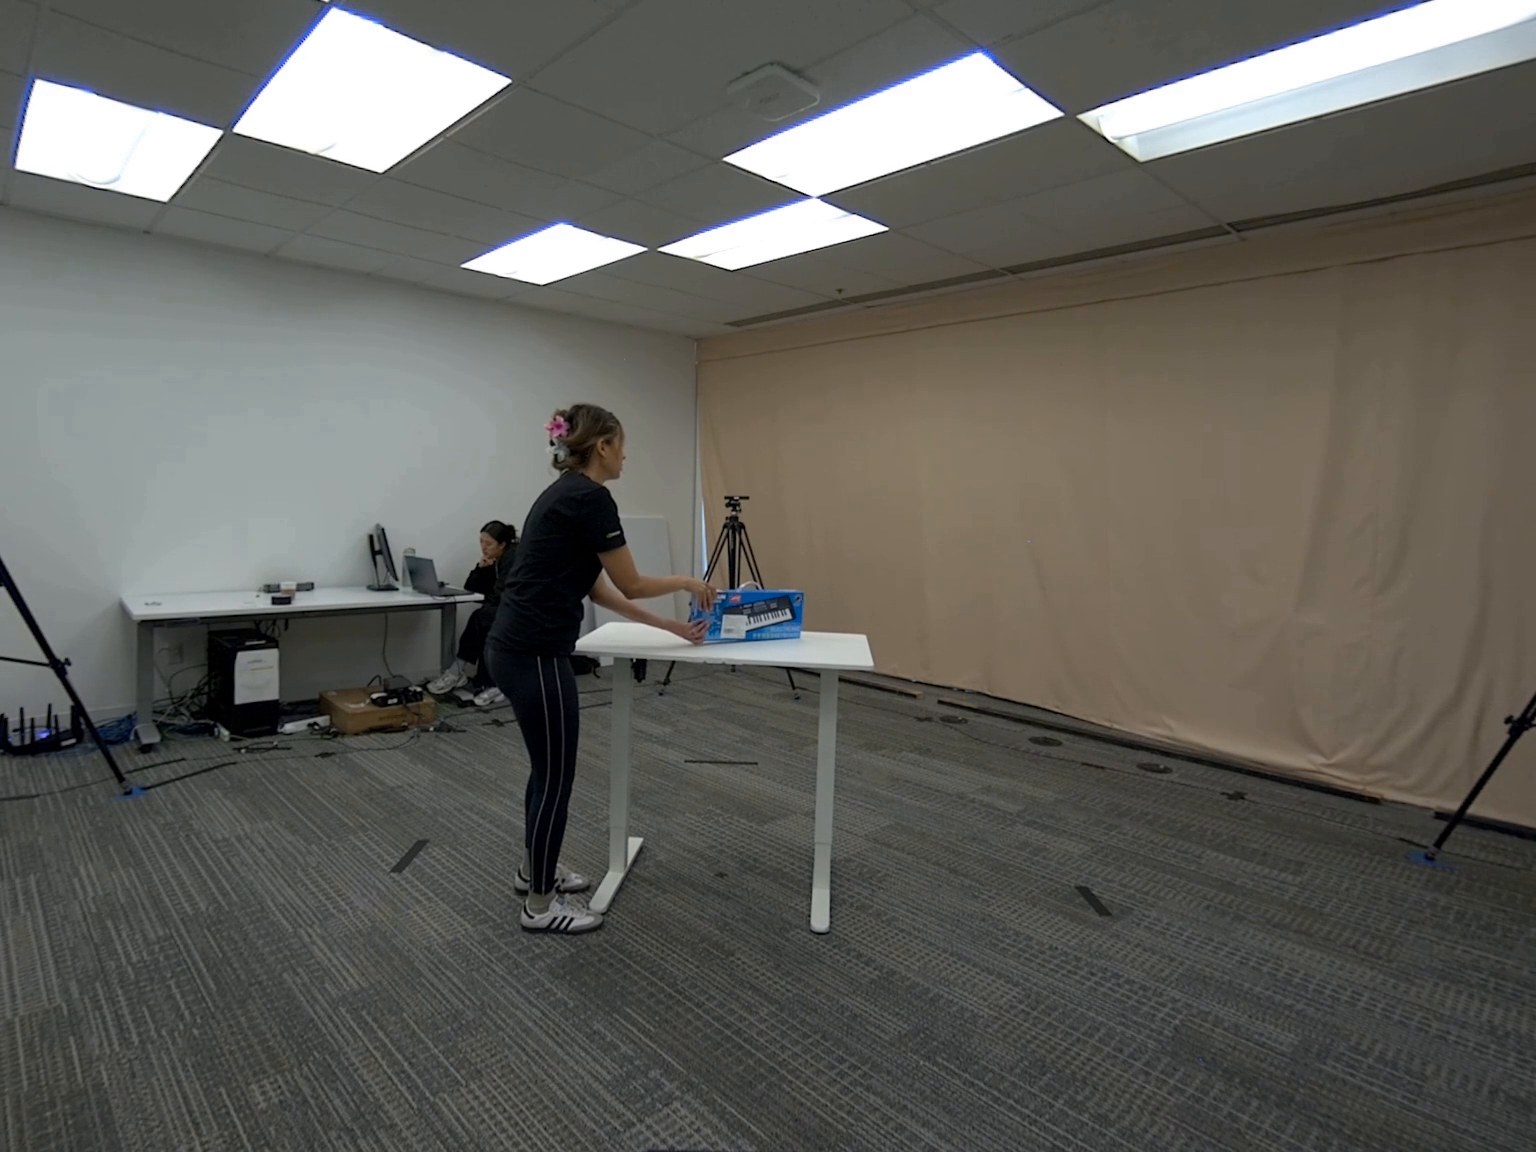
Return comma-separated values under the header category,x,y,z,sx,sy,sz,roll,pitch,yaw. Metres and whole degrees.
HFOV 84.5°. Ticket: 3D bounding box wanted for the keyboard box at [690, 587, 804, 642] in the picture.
category,x,y,z,sx,sy,sz,roll,pitch,yaw
keyboard box,-0.076,0.142,2.996,0.427,0.175,0.060,1,5,-32
